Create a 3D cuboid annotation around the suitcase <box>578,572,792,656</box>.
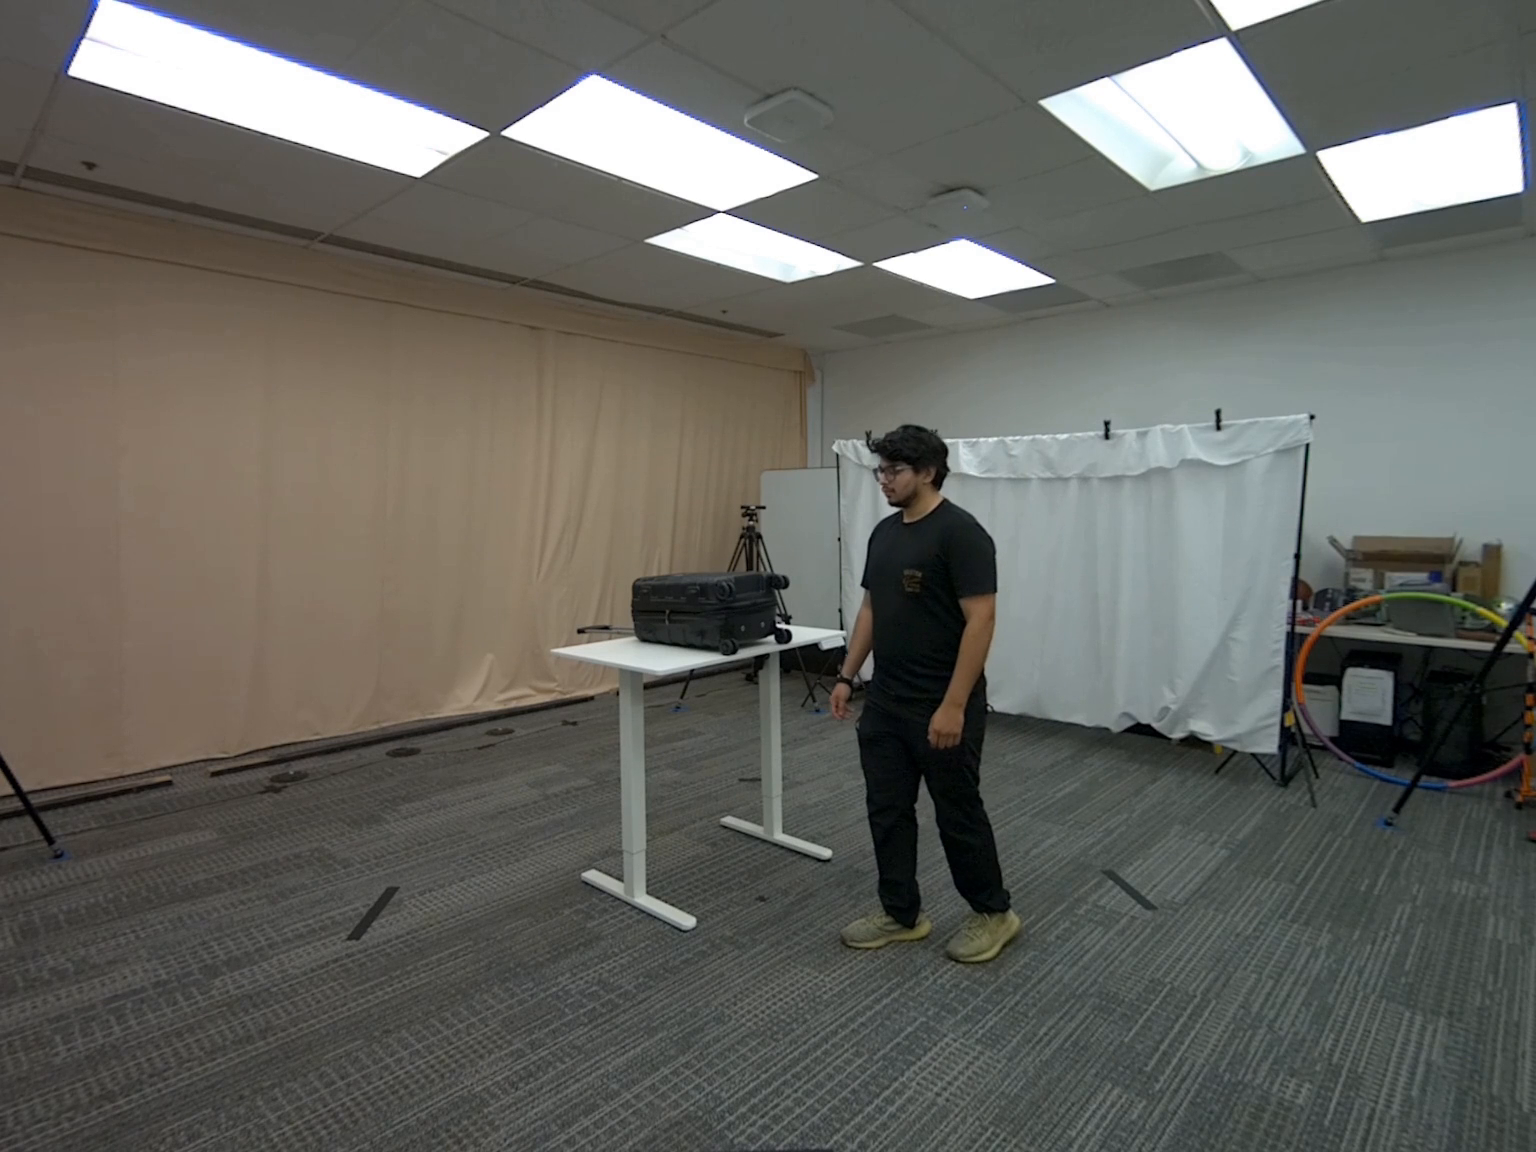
[{"bbox_3d":[-0.384,0.120,3.295,1.011,0.256,0.373,2,6,43],"label":"suitcase"}]
